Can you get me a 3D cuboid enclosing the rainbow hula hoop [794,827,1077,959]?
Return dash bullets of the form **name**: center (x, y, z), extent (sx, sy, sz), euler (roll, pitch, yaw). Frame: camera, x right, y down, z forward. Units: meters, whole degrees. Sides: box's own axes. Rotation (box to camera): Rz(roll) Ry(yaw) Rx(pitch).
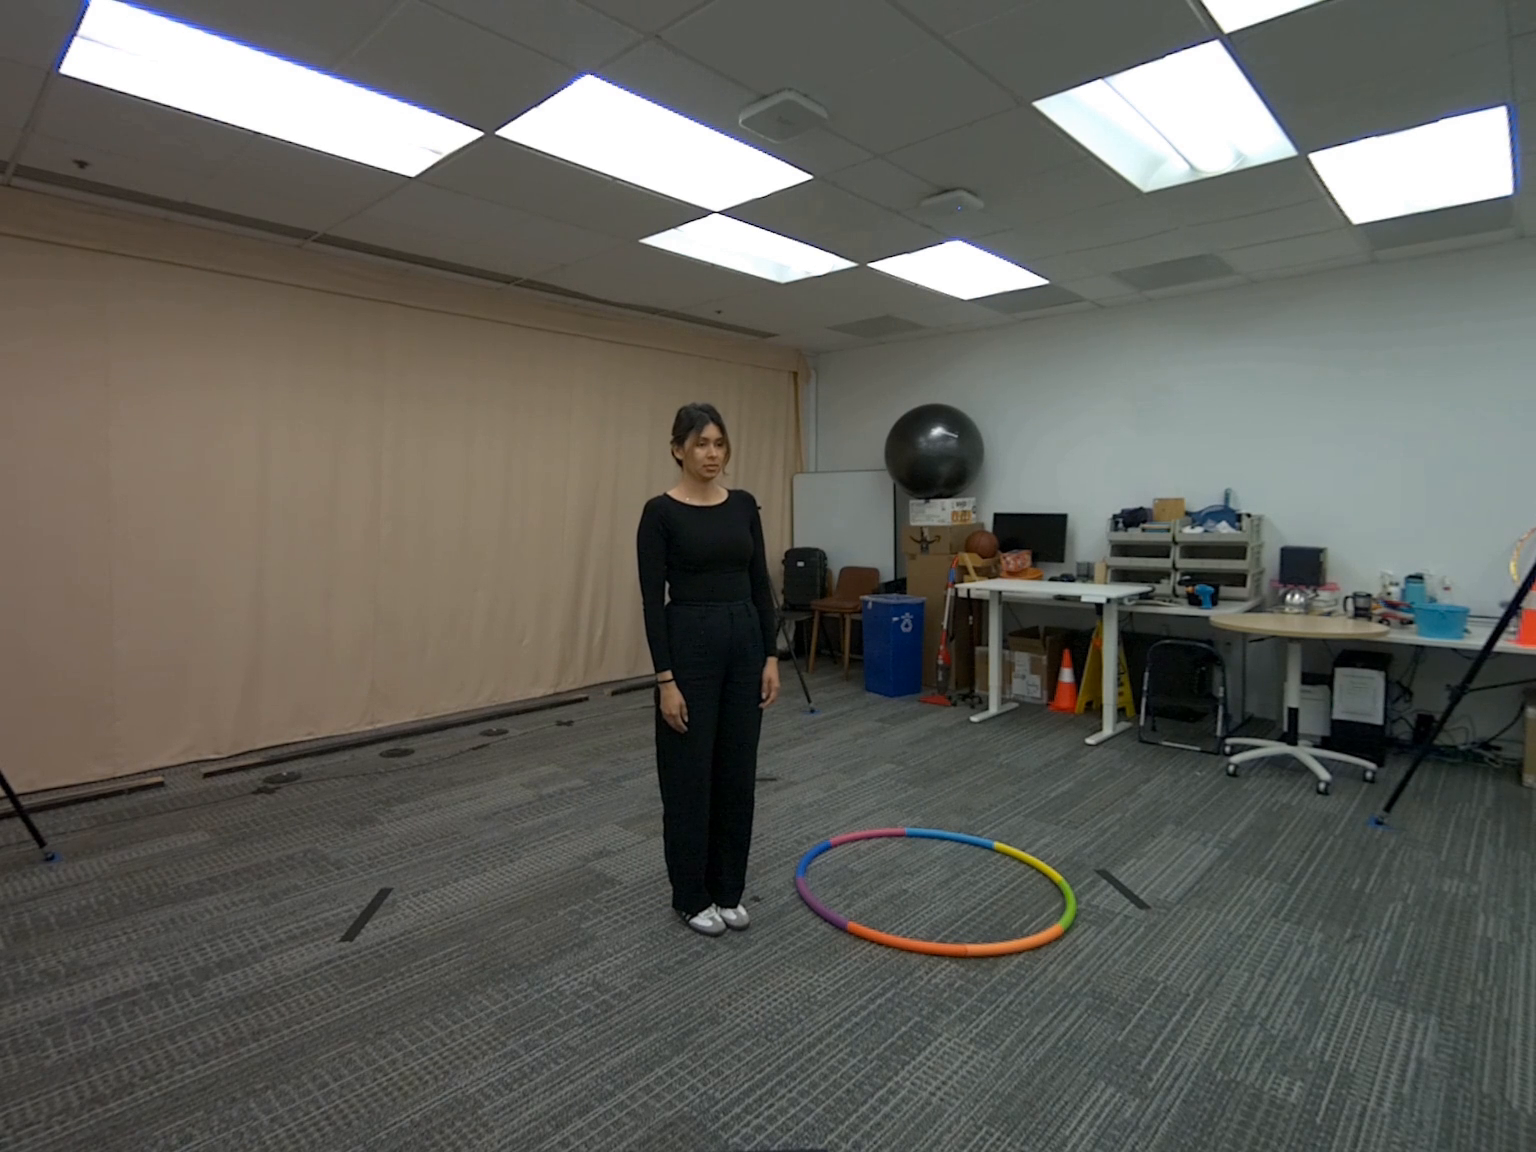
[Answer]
- **rainbow hula hoop**: center (0.594, 1.109, 3.077), extent (0.985, 0.051, 0.989), euler (-1, 5, -2)
